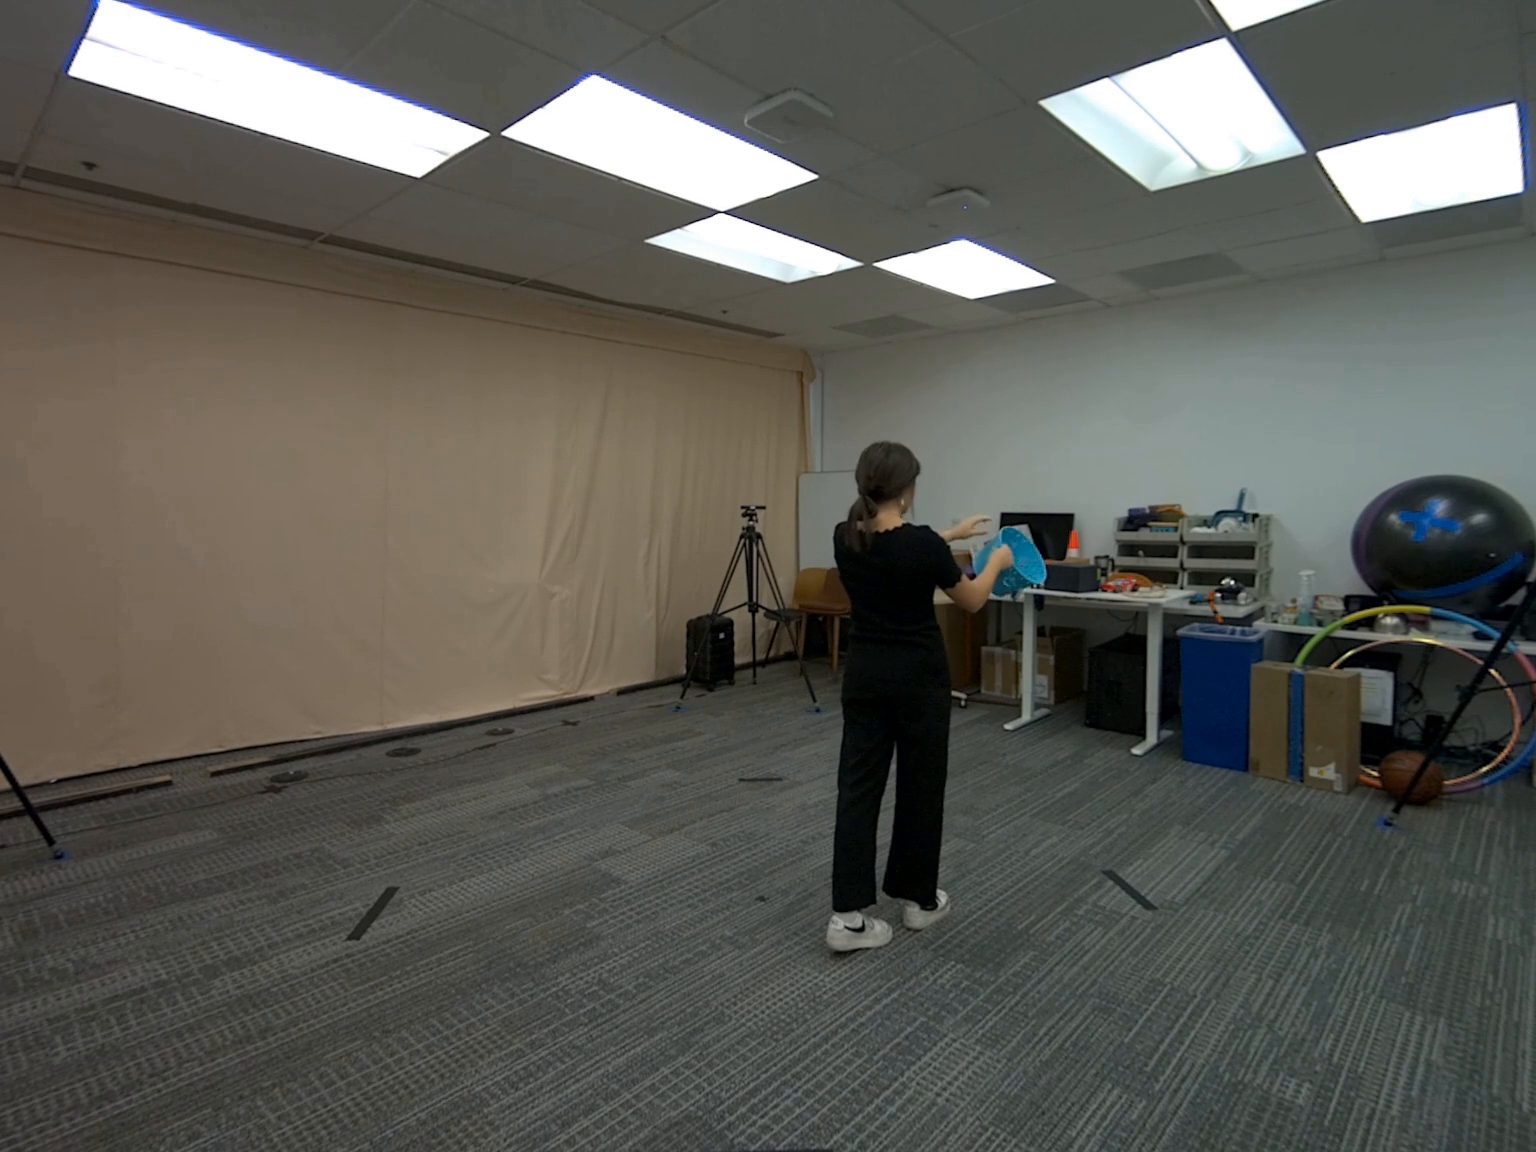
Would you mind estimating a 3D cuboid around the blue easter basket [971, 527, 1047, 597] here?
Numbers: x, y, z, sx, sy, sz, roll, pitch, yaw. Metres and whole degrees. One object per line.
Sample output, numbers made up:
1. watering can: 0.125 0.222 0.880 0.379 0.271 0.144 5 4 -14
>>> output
1. blue easter basket: 0.864 -0.038 3.039 0.236 0.248 0.157 -4 -28 -43
